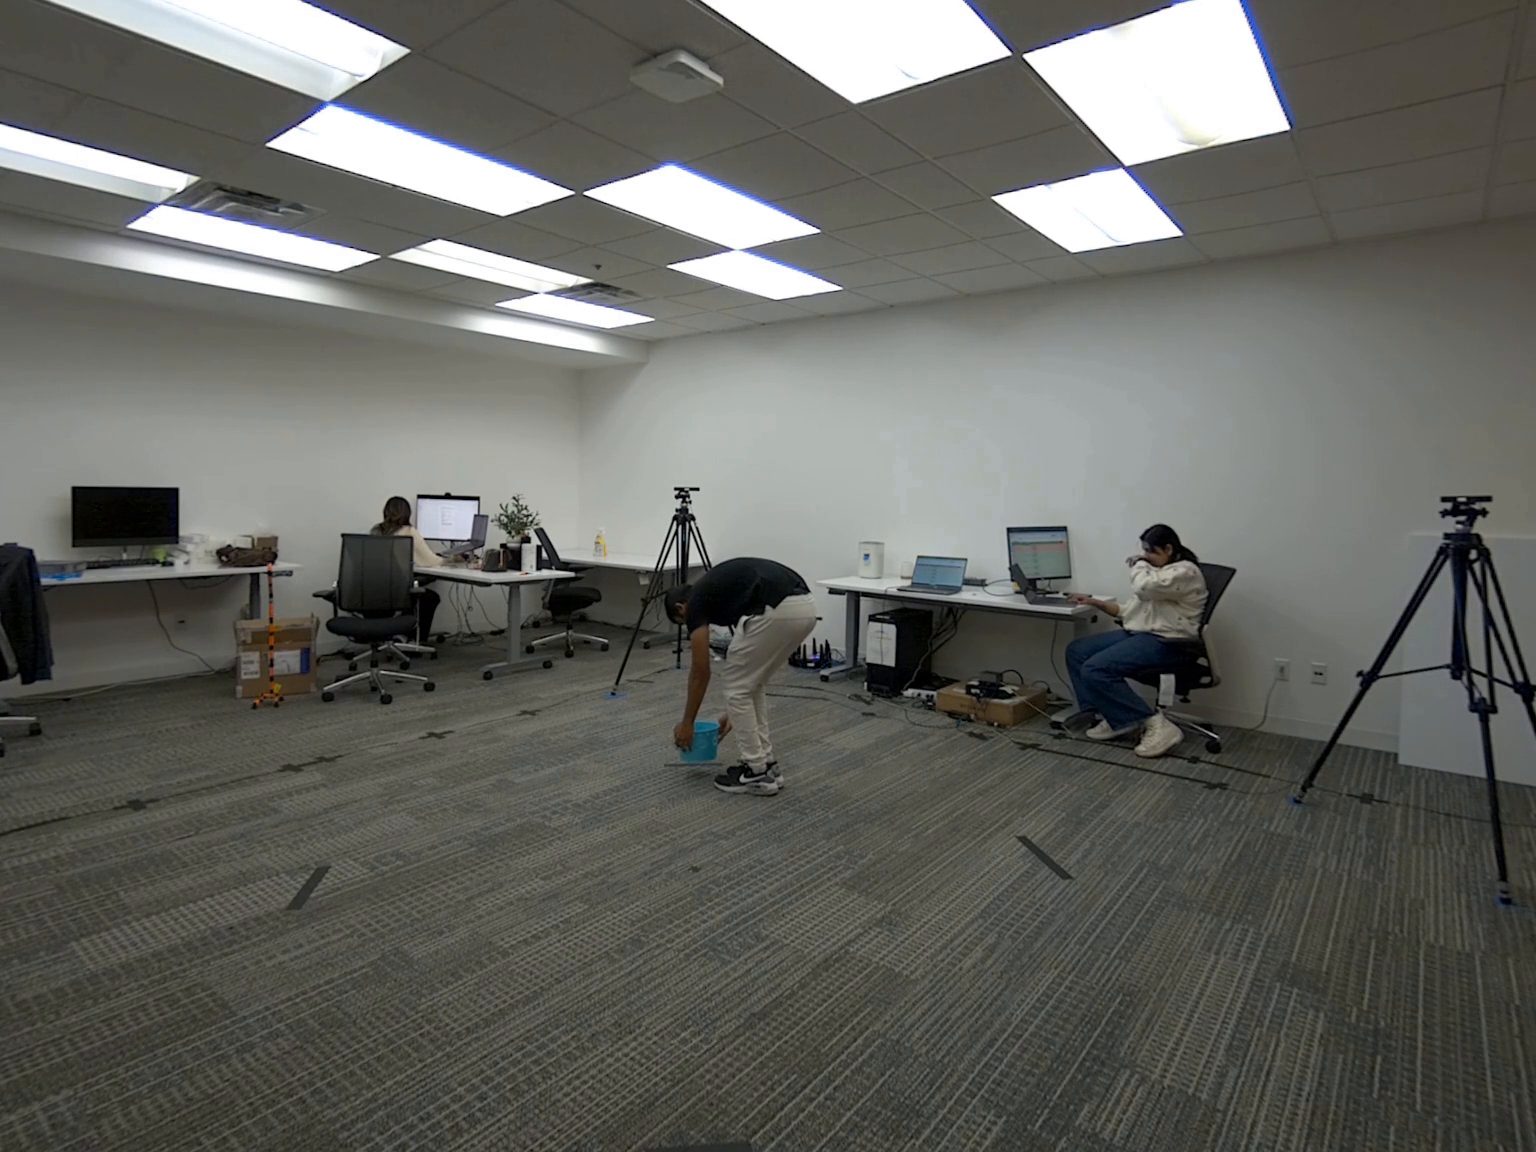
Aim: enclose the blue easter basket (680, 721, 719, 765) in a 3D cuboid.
[{"bbox_3d":[-0.354,0.804,4.163,0.243,0.156,0.244,-4,0,-2],"label":"blue easter basket"}]
